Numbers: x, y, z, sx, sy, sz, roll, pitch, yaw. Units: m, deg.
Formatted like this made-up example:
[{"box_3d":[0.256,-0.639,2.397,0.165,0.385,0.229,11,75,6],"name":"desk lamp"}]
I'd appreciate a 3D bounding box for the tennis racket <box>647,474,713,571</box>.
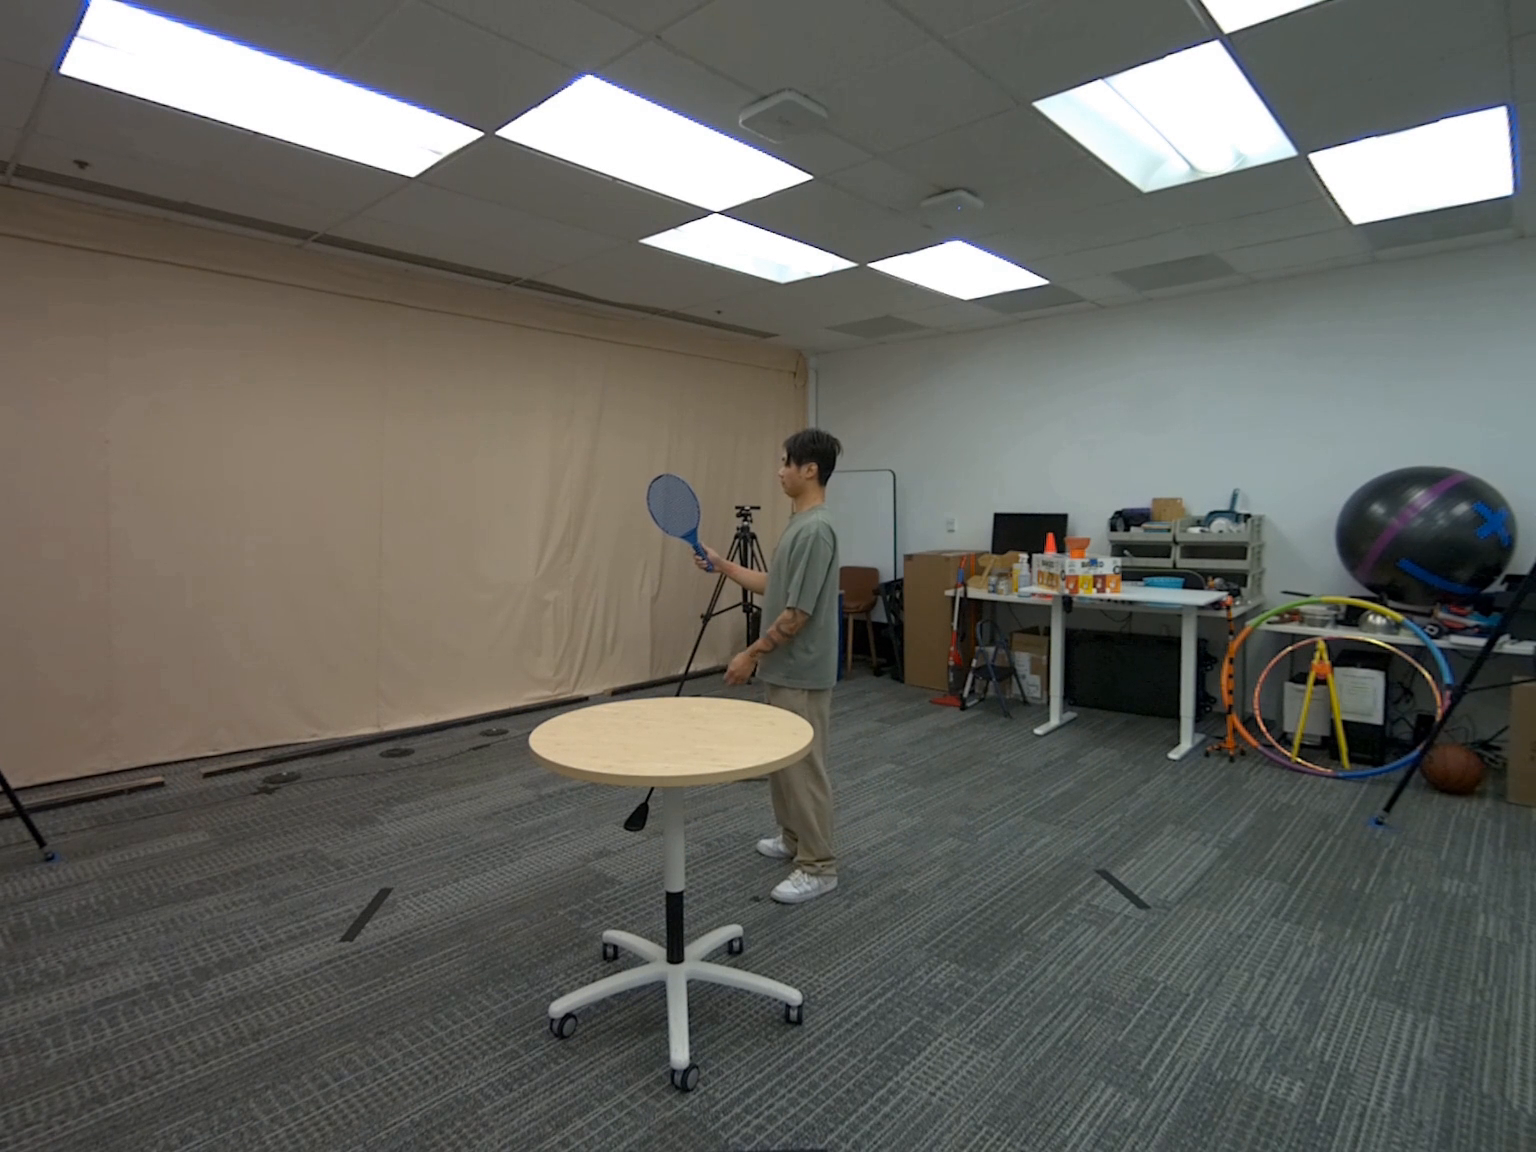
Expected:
[{"box_3d":[-0.335,-0.211,3.368,0.216,0.434,0.031,-31,-3,23],"name":"tennis racket"}]
